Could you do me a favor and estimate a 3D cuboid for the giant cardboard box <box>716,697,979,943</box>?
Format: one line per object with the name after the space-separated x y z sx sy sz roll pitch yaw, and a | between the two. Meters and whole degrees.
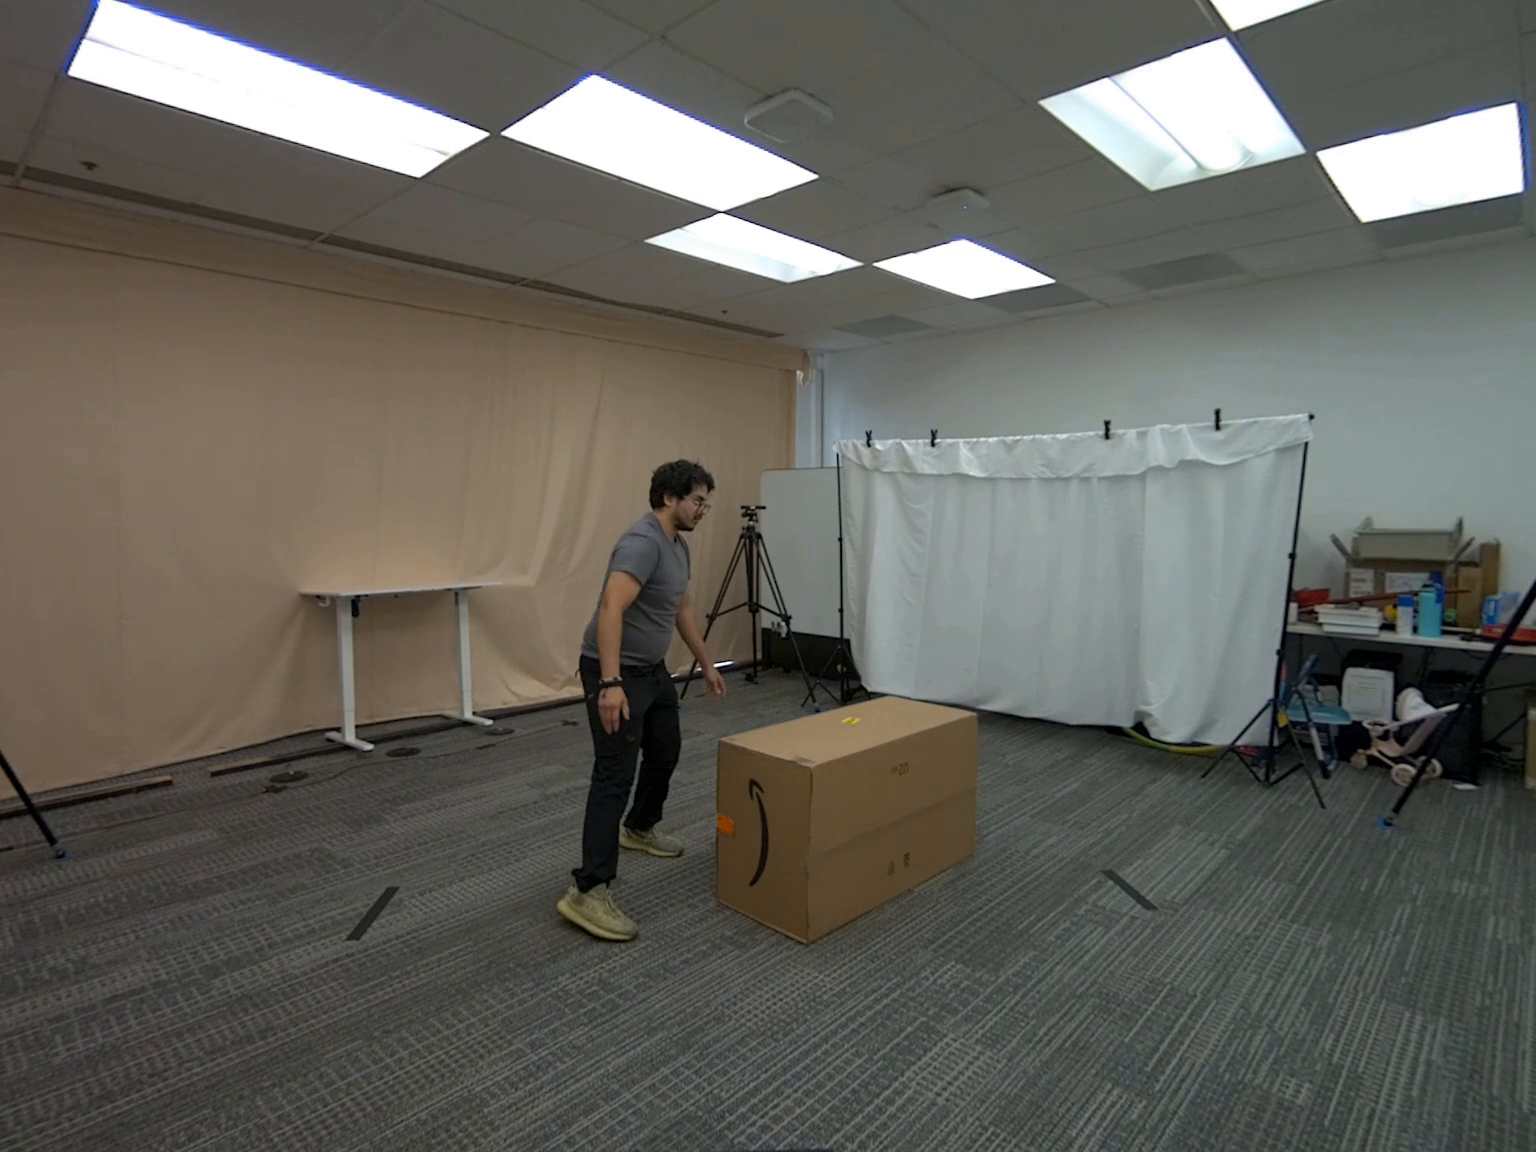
0.326 0.844 3.146 0.994 0.576 0.440 -4 6 -45 | giant cardboard box
